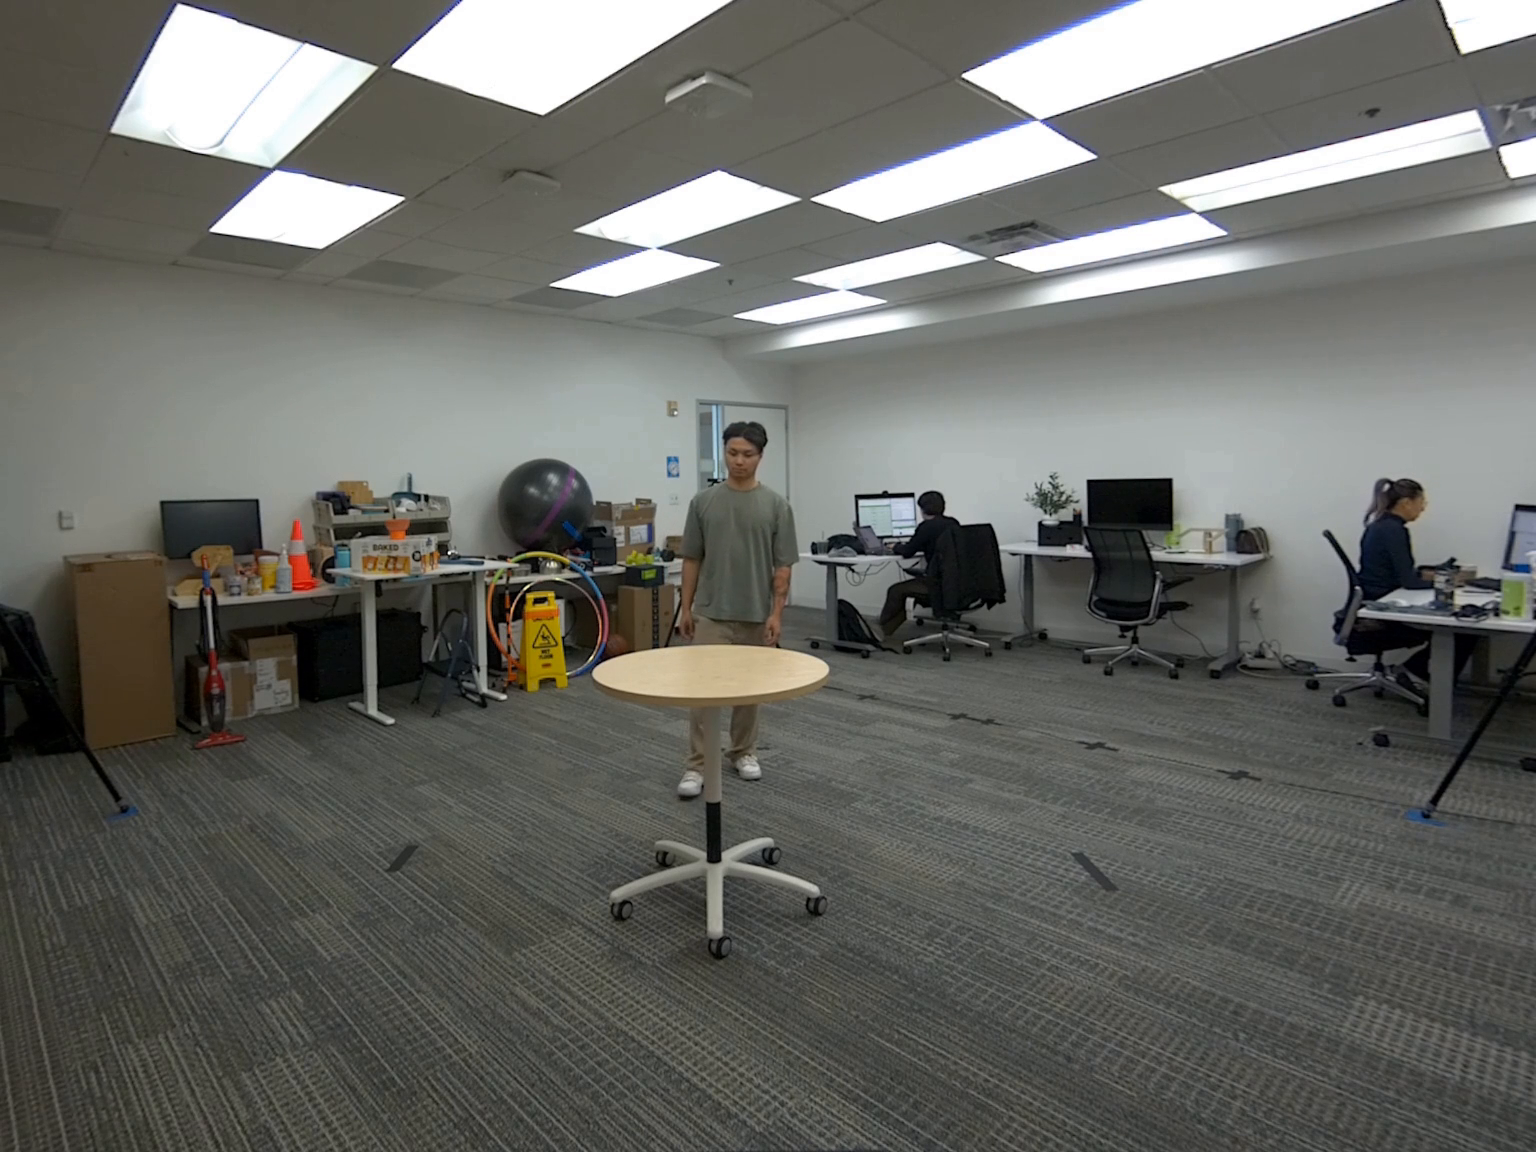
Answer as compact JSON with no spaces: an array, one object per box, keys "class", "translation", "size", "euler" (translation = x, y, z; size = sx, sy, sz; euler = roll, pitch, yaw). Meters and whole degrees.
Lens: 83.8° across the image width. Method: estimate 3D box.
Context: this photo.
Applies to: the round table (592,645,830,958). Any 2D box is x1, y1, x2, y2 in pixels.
[{"class":"round table","translation":[-0.161,0.690,2.798],"size":[0.784,0.783,0.789],"euler":[-1,5,-2]}]
